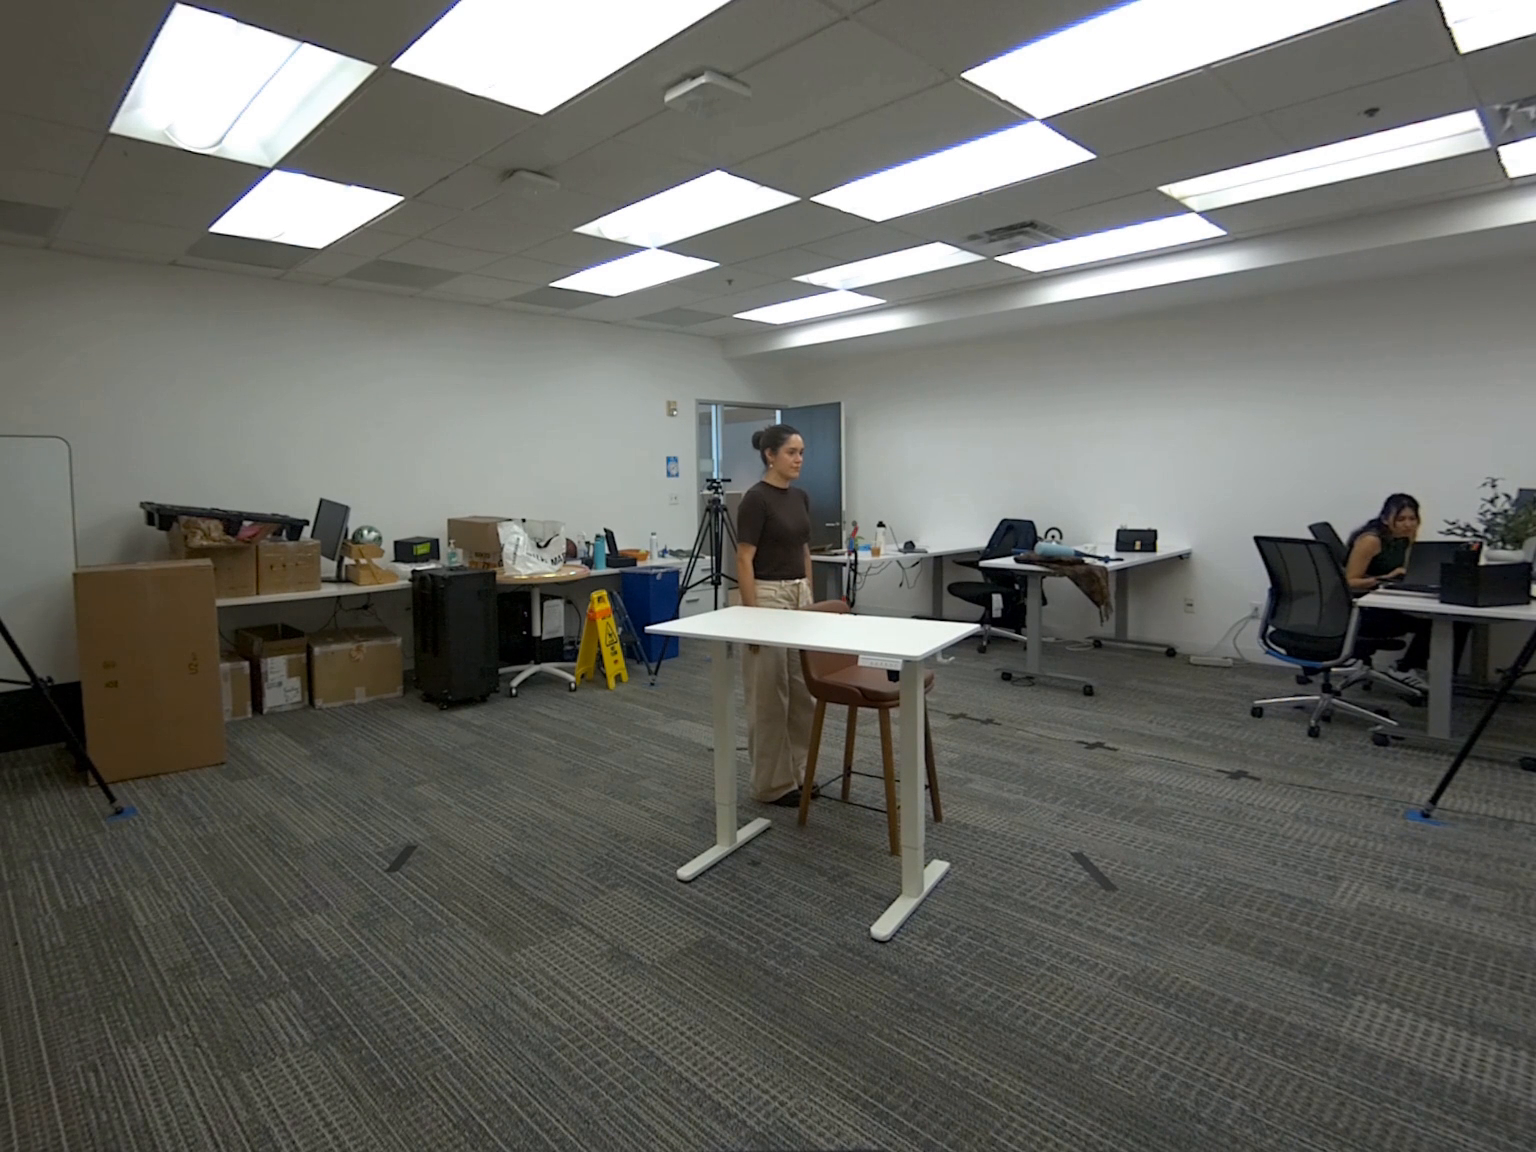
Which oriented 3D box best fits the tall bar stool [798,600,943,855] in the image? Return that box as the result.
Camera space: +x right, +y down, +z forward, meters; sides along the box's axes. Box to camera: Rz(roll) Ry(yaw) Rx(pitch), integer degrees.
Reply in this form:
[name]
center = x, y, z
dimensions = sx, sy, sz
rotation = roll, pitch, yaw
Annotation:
[tall bar stool]
center = 0.394, 0.567, 3.422
dimensions = 0.481, 0.888, 0.444
rotation = 0, 3, 37
